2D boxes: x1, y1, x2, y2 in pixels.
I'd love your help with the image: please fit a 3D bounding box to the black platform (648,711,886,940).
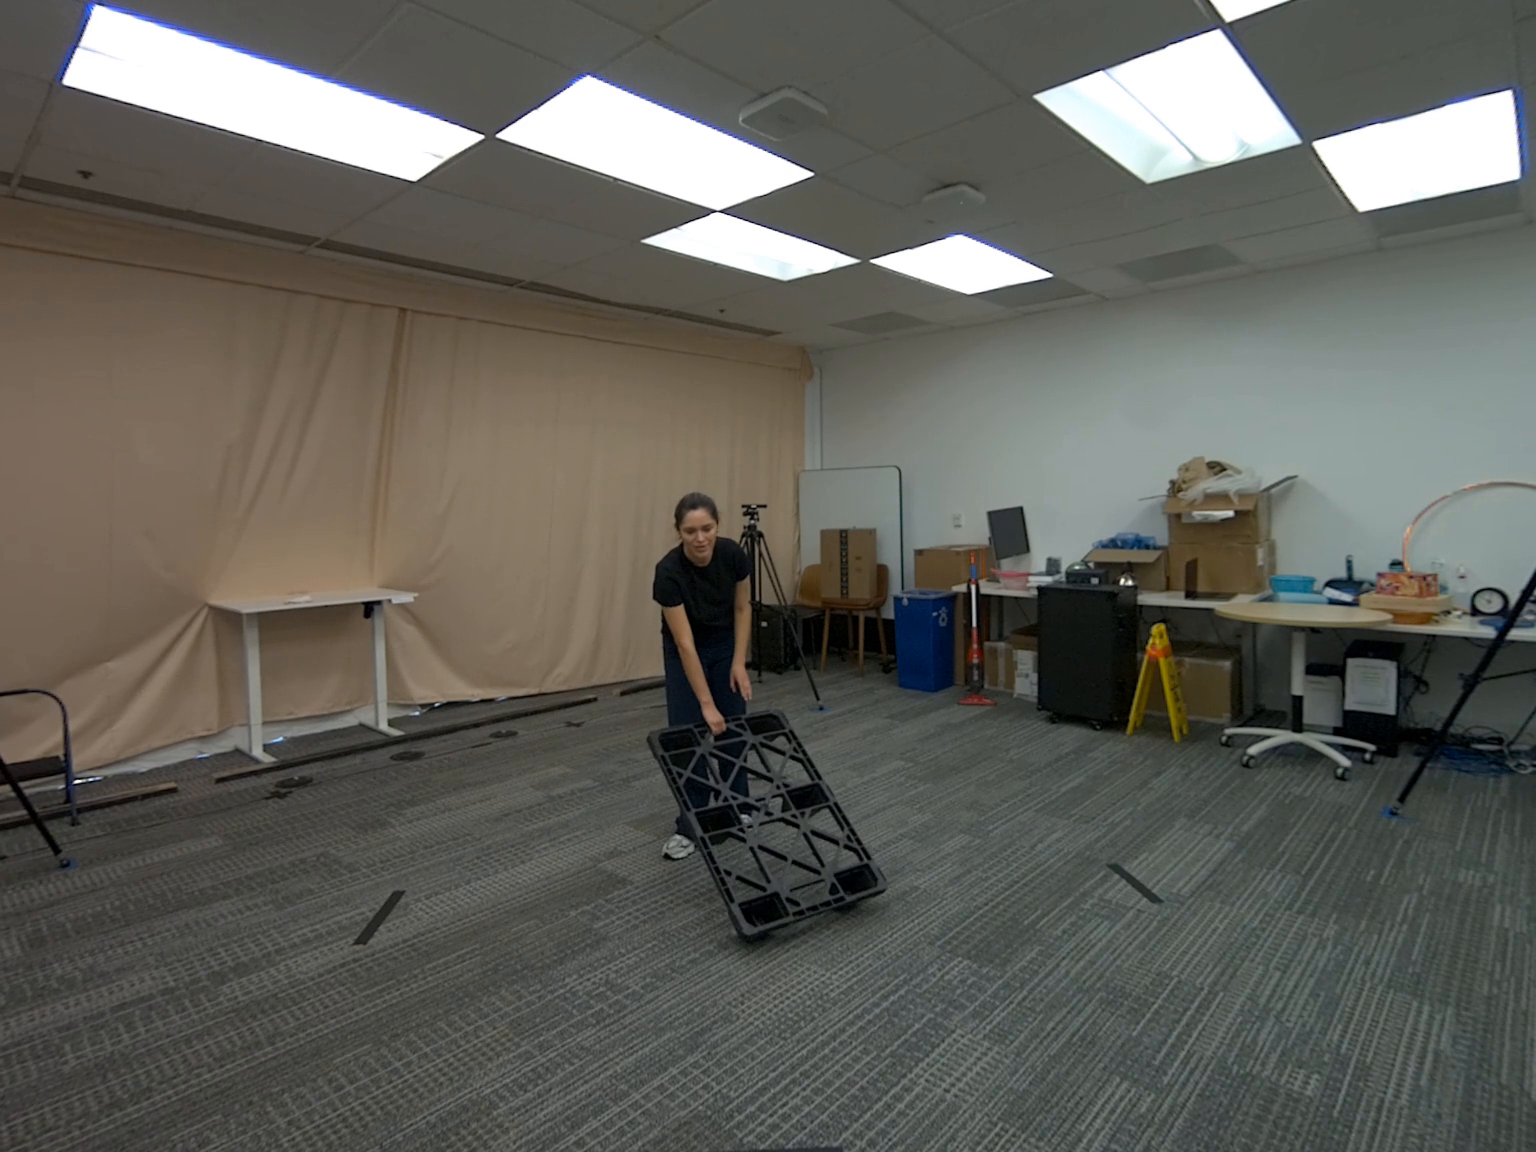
[{"bbox_3d":[-0.017,0.868,3.001,0.588,0.142,0.832,-5,43,-33],"label":"black platform"}]
